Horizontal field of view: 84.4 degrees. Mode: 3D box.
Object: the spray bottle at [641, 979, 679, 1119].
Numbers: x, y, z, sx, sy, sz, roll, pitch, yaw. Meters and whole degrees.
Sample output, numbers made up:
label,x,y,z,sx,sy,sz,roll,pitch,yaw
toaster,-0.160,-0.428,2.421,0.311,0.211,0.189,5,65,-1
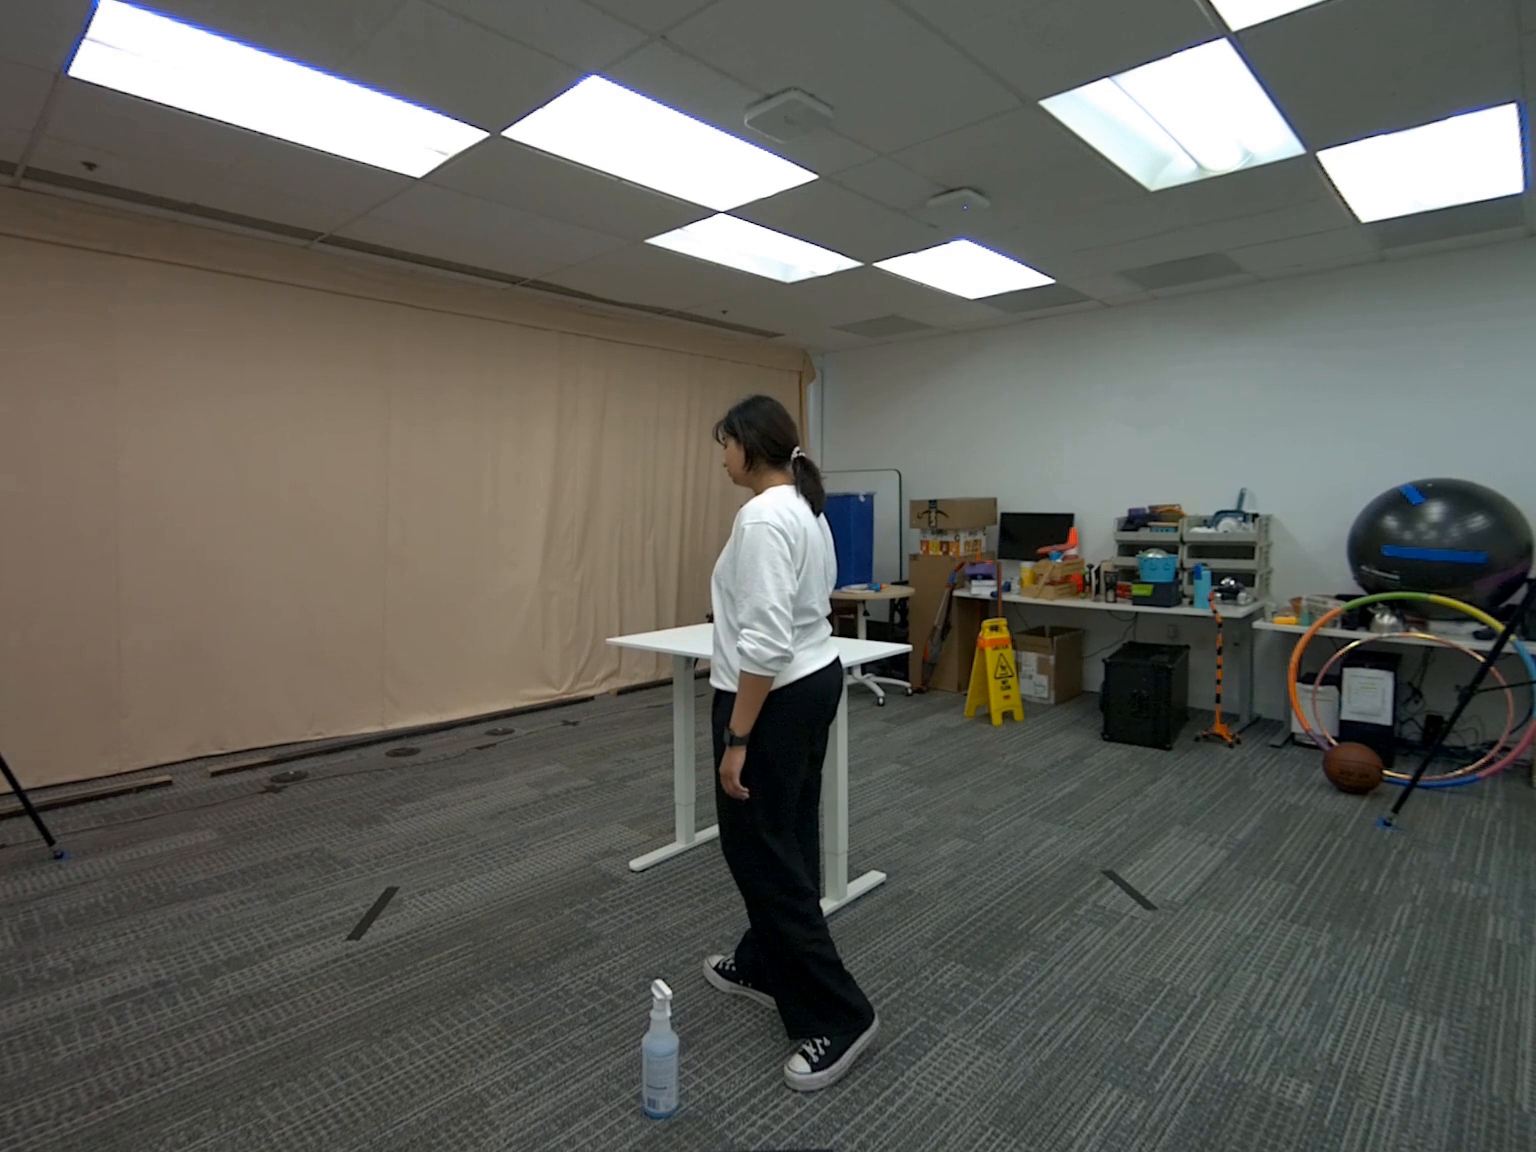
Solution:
label,x,y,z,sx,sy,sz,roll,pitch,yaw
spray bottle,-0.240,1.090,1.936,0.087,0.296,0.090,0,4,-2
